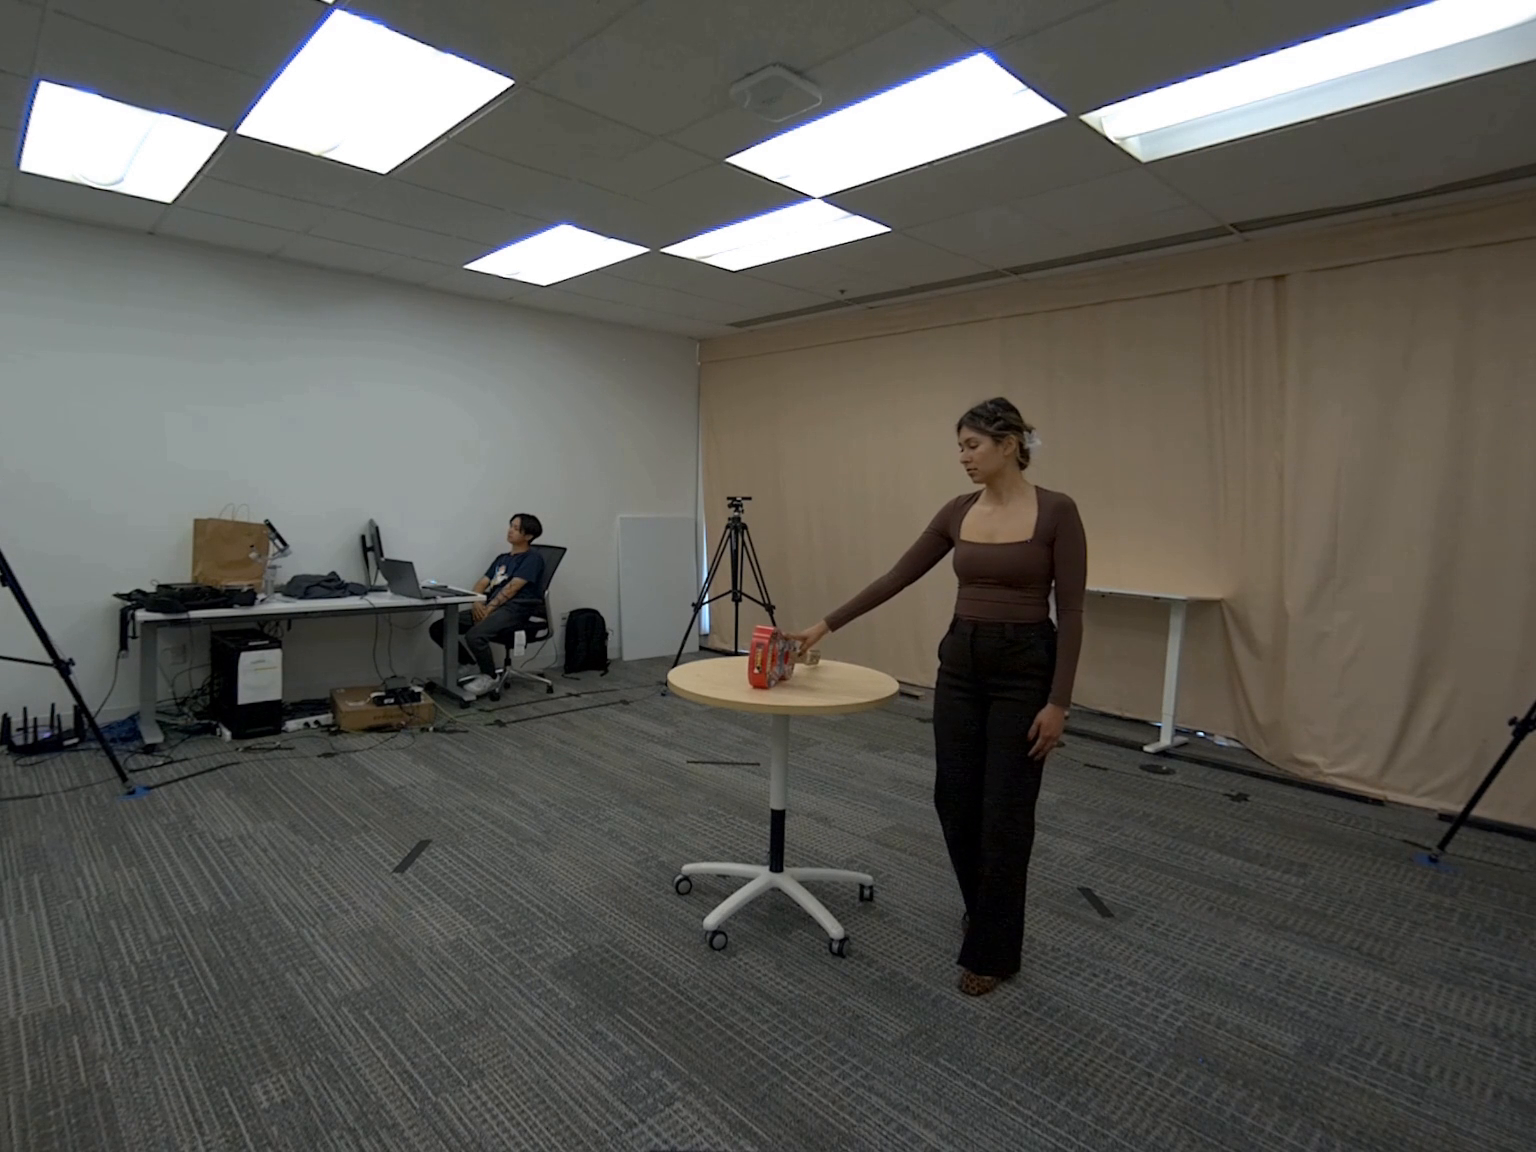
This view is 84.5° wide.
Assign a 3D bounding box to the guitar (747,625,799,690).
[{"bbox_3d":[0.055,0.297,2.818,0.072,0.194,0.485,3,-13,23],"label":"guitar"}]
